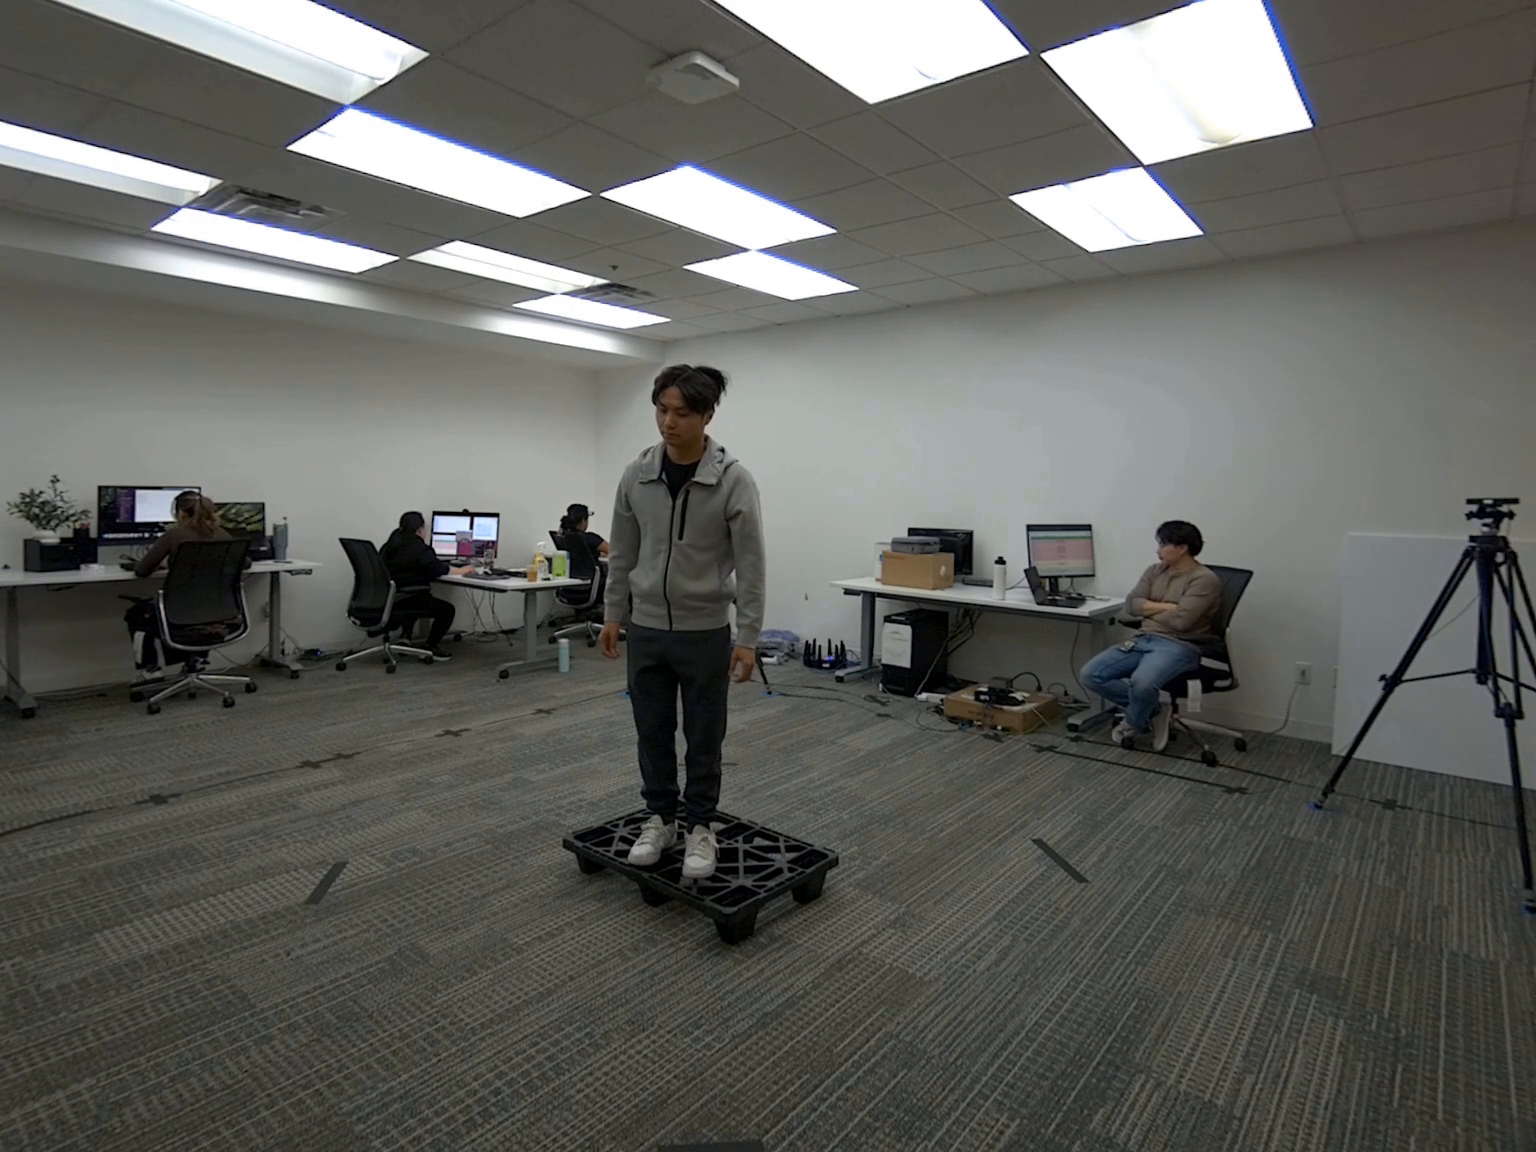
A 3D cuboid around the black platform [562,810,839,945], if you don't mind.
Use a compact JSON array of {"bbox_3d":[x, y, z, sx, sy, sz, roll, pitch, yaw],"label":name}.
[{"bbox_3d":[-0.256,1.010,2.998,0.833,0.143,0.587,6,7,40],"label":"black platform"}]
